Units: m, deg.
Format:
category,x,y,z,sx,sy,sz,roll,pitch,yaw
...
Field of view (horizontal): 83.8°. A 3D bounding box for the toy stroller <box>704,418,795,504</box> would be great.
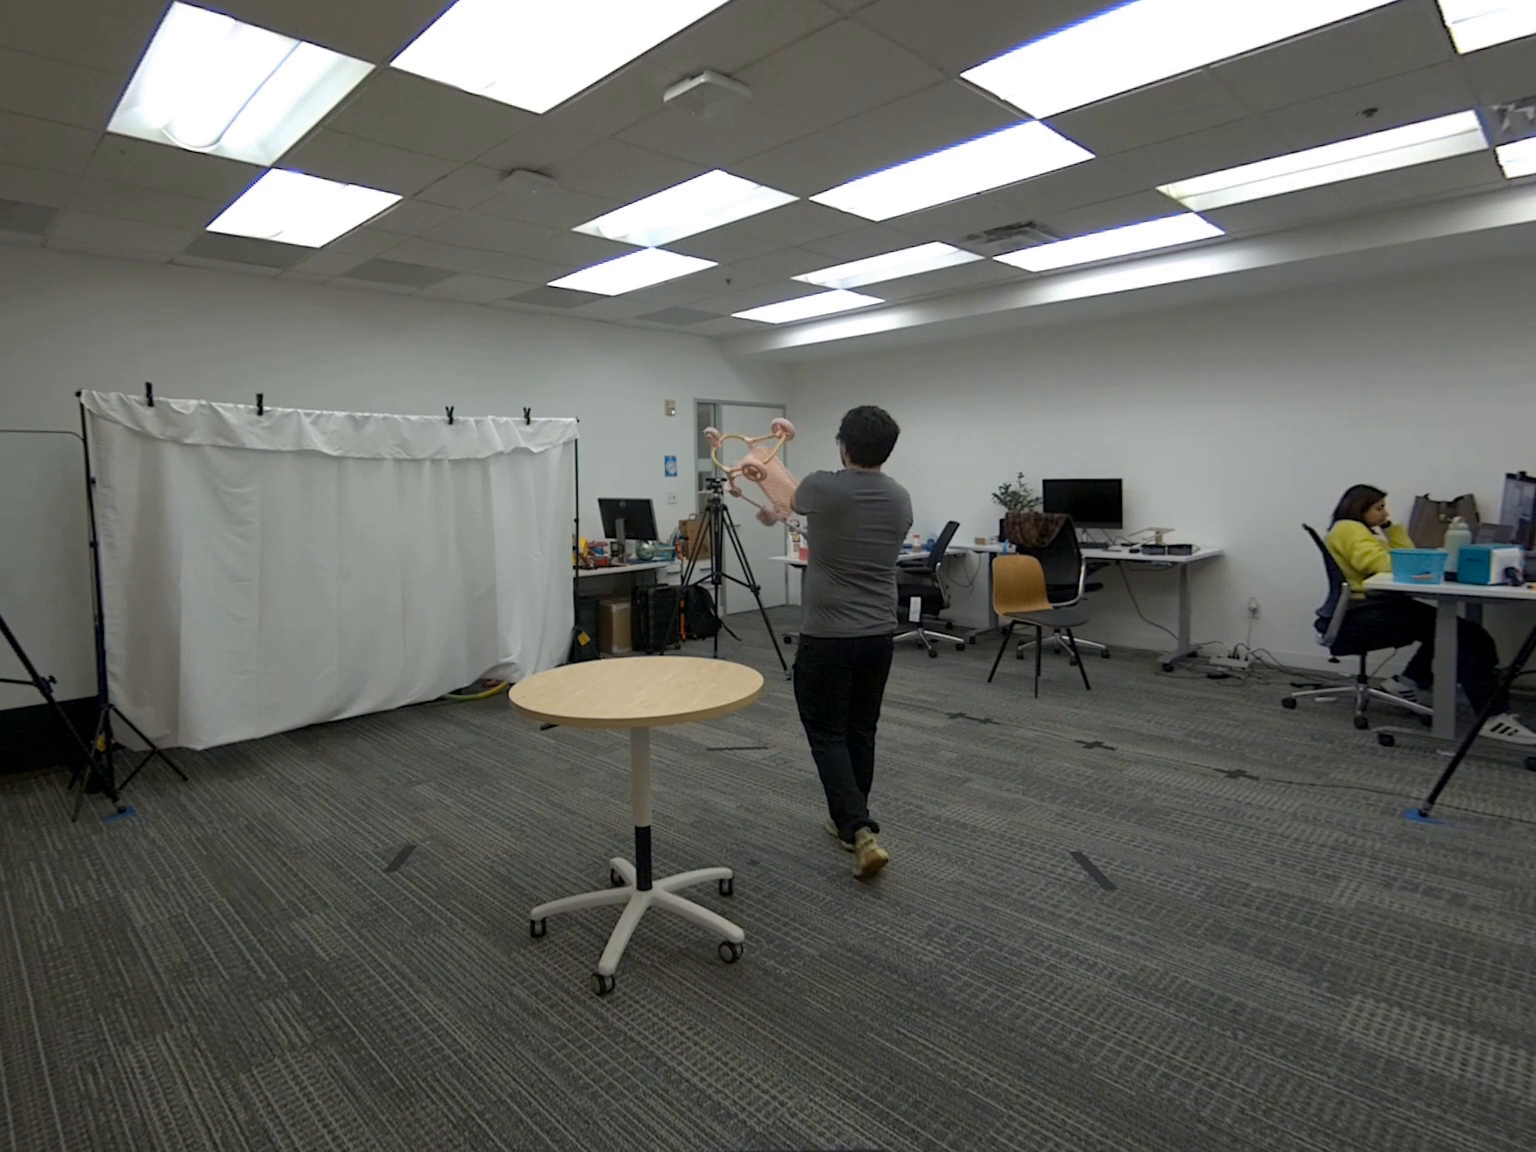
category,x,y,z,sx,sy,sz,roll,pitch,yaw
toy stroller,-0.022,-0.399,3.498,0.351,0.515,0.284,1,48,35
